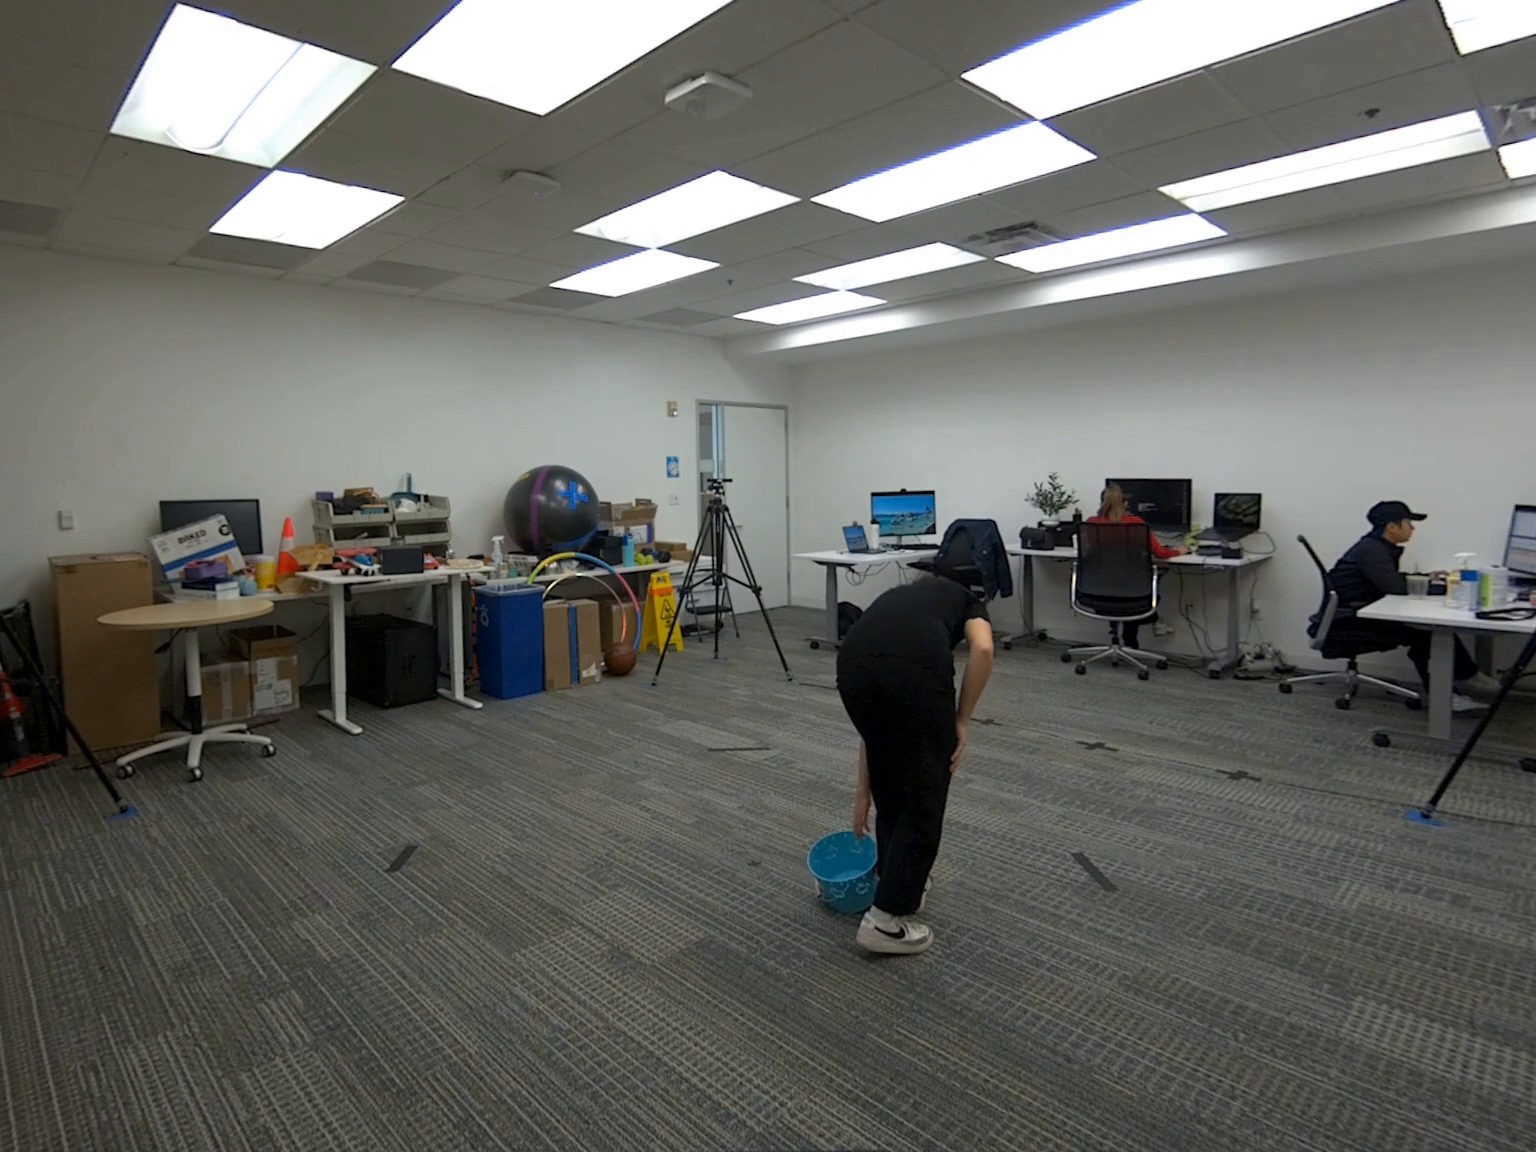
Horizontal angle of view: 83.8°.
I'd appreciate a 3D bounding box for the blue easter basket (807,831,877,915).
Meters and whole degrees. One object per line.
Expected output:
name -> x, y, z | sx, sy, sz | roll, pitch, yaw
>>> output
blue easter basket -> 0.261, 0.978, 2.790 | 0.244, 0.152, 0.248 | -14, 22, 4
